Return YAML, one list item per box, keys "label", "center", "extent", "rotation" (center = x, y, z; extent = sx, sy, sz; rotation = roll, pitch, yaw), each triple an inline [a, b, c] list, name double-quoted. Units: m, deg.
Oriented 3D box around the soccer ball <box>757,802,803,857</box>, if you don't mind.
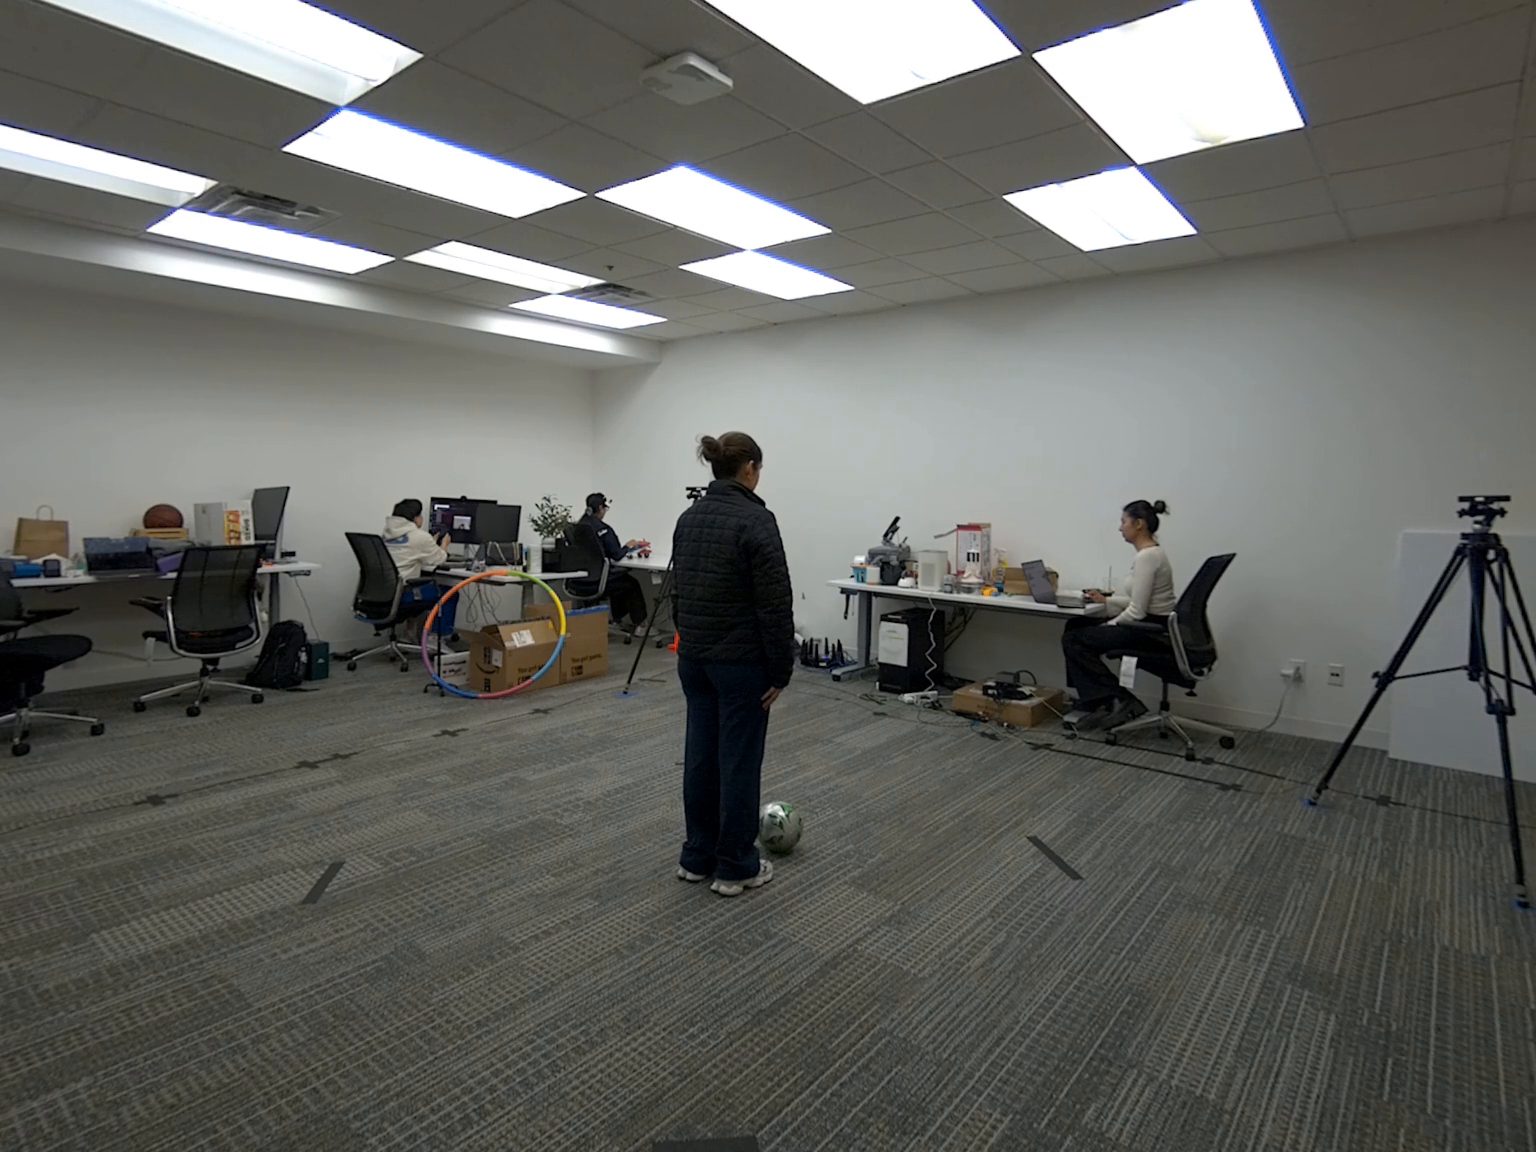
- label: "soccer ball"
  center: [0.035, 0.956, 3.276]
  extent: [0.187, 0.187, 0.188]
  rotation: [1, 4, -2]
